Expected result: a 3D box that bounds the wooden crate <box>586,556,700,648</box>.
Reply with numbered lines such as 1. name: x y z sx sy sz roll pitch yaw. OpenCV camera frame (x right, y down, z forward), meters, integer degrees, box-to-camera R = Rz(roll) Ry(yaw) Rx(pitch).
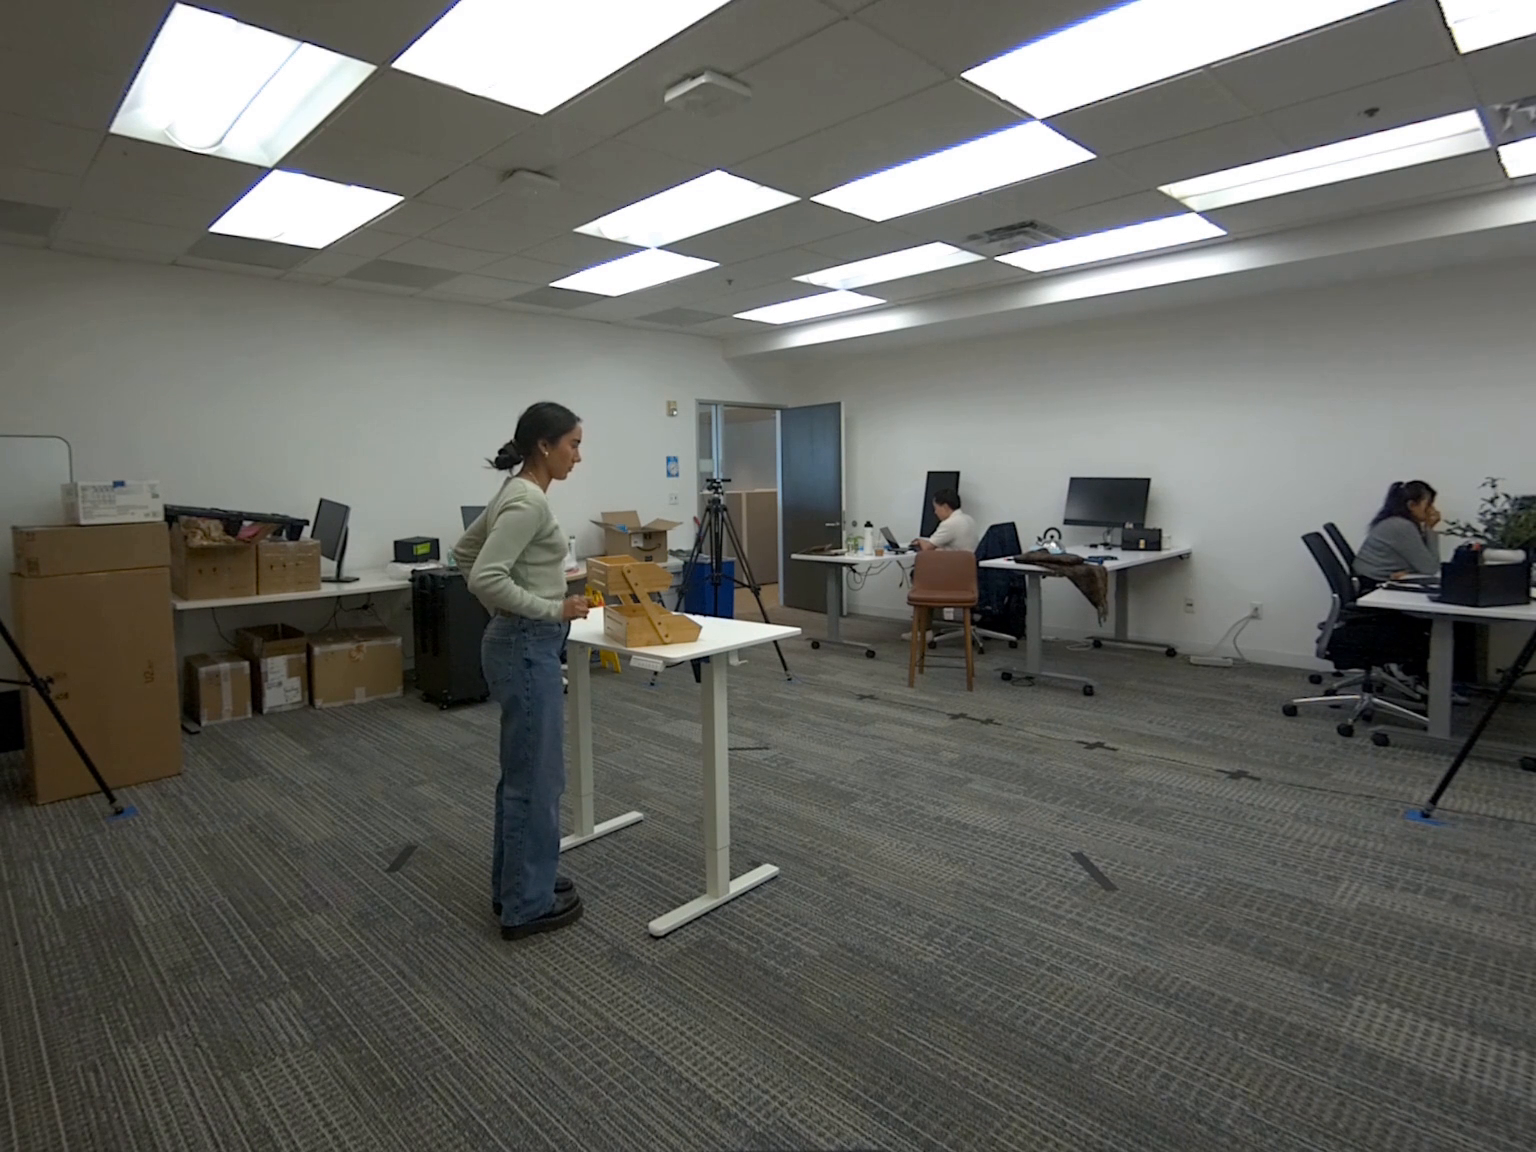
1. wooden crate: -0.406 0.069 2.790 0.296 0.272 0.332 -4 5 -22
